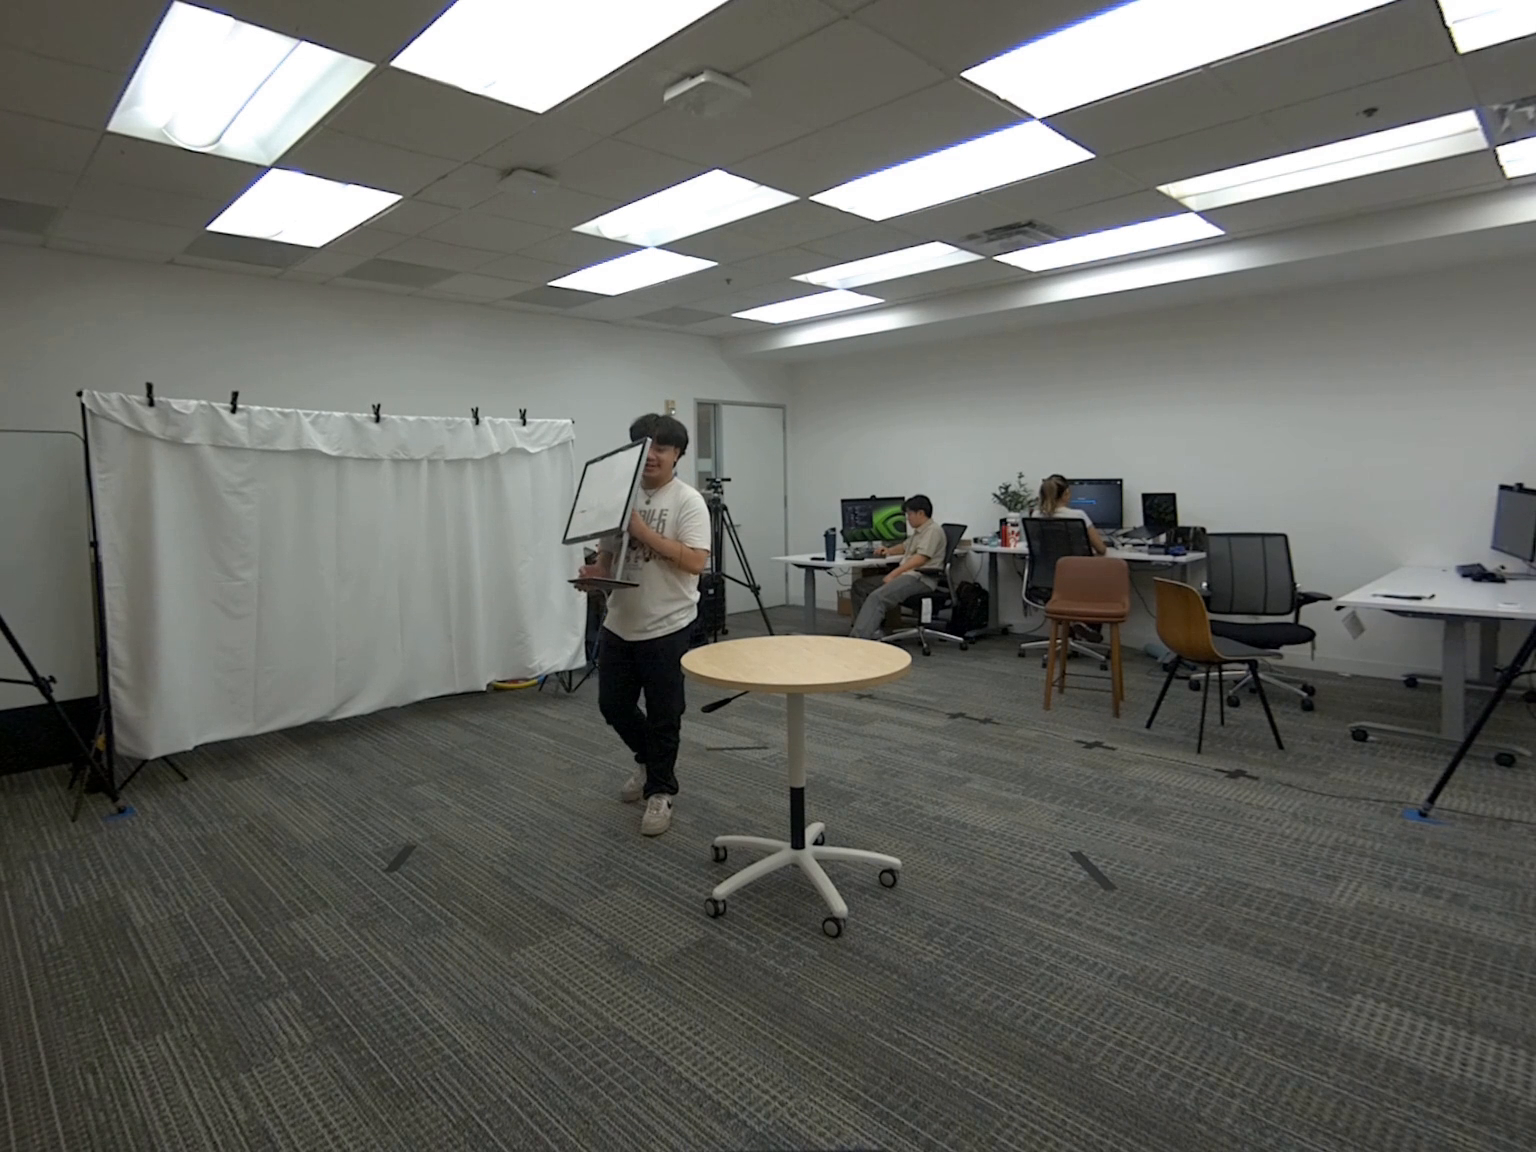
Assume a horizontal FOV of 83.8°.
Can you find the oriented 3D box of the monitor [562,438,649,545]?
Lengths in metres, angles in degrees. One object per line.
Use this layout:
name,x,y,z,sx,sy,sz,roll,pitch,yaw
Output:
monitor,-0.587,-0.212,3.303,0.204,0.559,0.578,15,-13,-31
